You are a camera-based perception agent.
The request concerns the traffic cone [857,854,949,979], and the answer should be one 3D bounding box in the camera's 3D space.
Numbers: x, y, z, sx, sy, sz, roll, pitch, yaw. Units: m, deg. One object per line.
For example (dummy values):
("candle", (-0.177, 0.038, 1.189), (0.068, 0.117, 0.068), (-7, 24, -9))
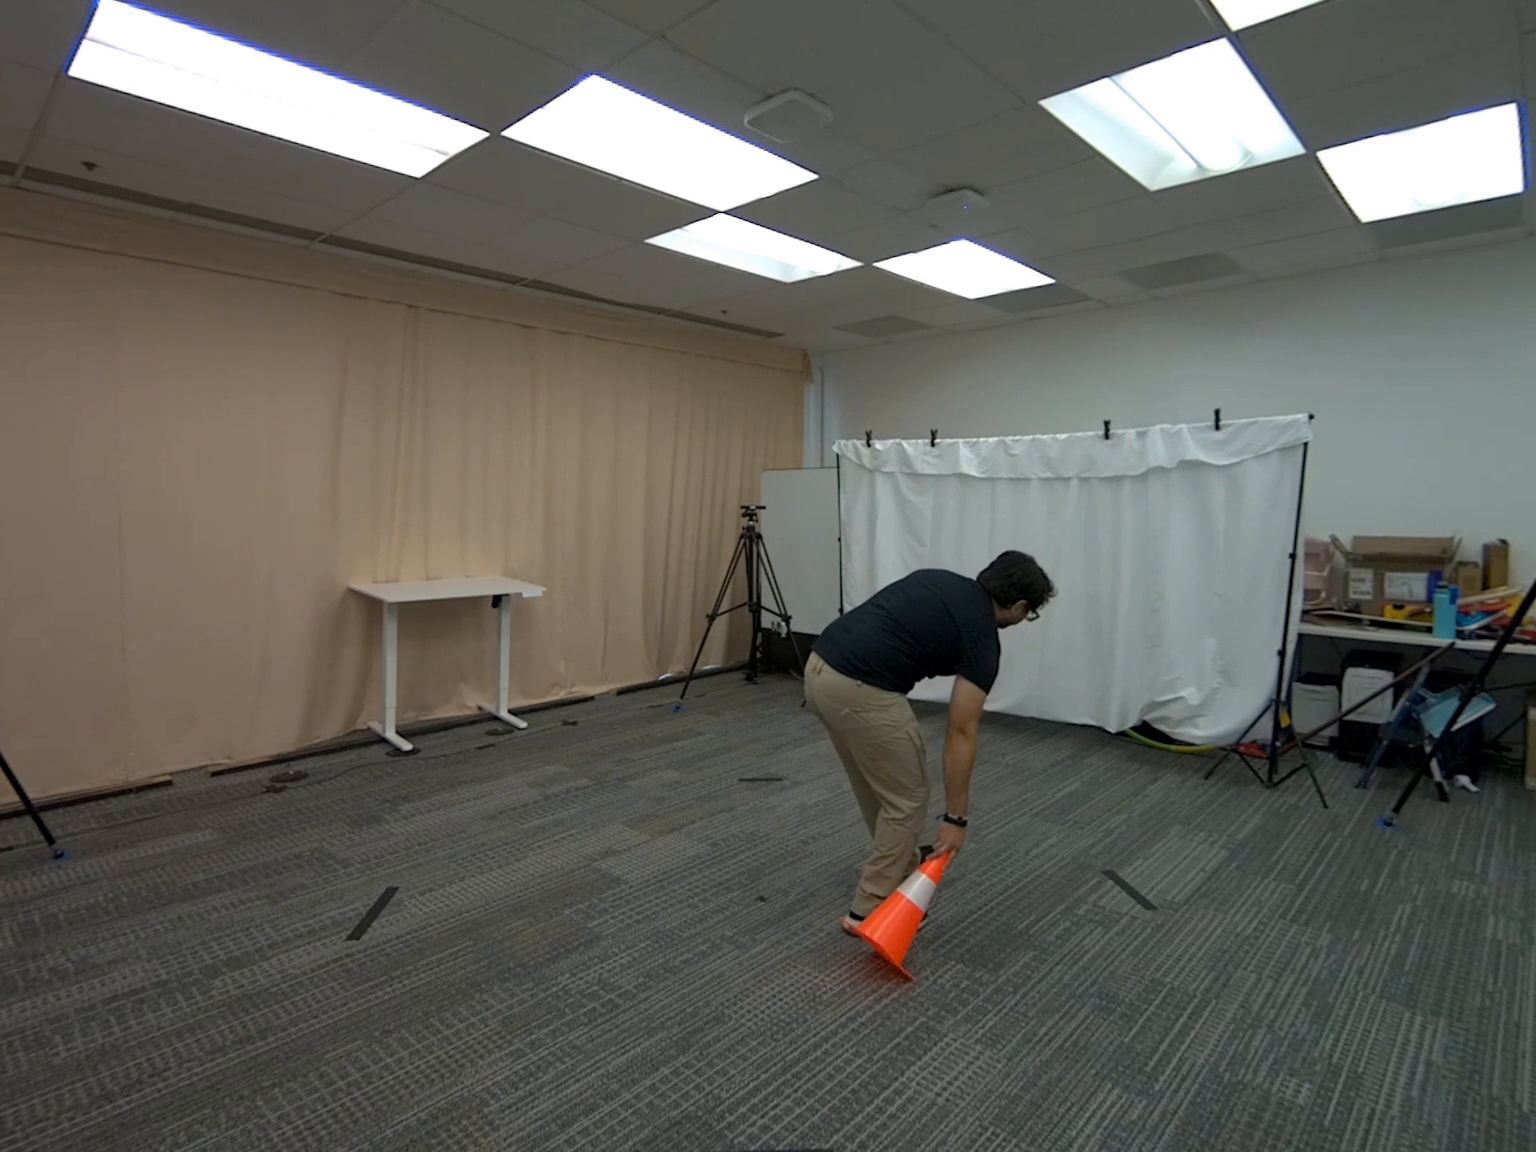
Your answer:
("traffic cone", (0.442, 0.977, 2.570), (0.200, 0.382, 0.209), (48, -18, -24))
